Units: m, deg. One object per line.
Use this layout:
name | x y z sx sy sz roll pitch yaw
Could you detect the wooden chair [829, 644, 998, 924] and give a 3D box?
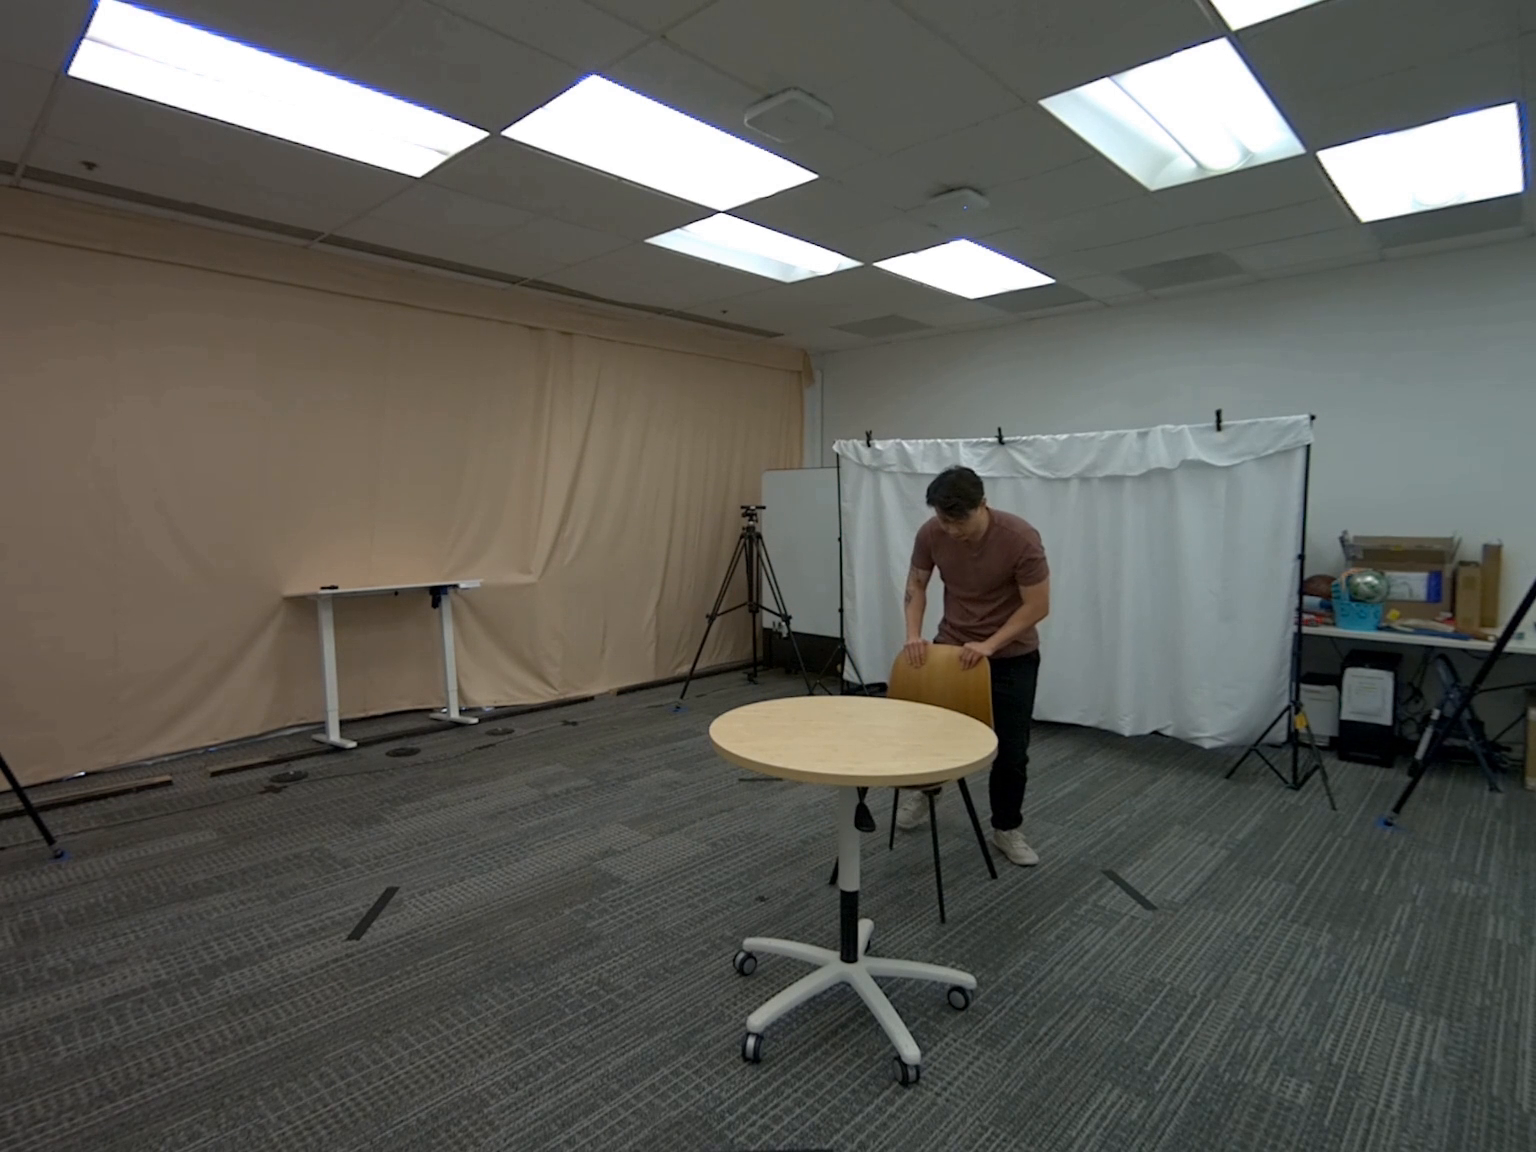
wooden chair | 0.539 0.706 3.079 0.494 0.877 0.506 3 0 39
